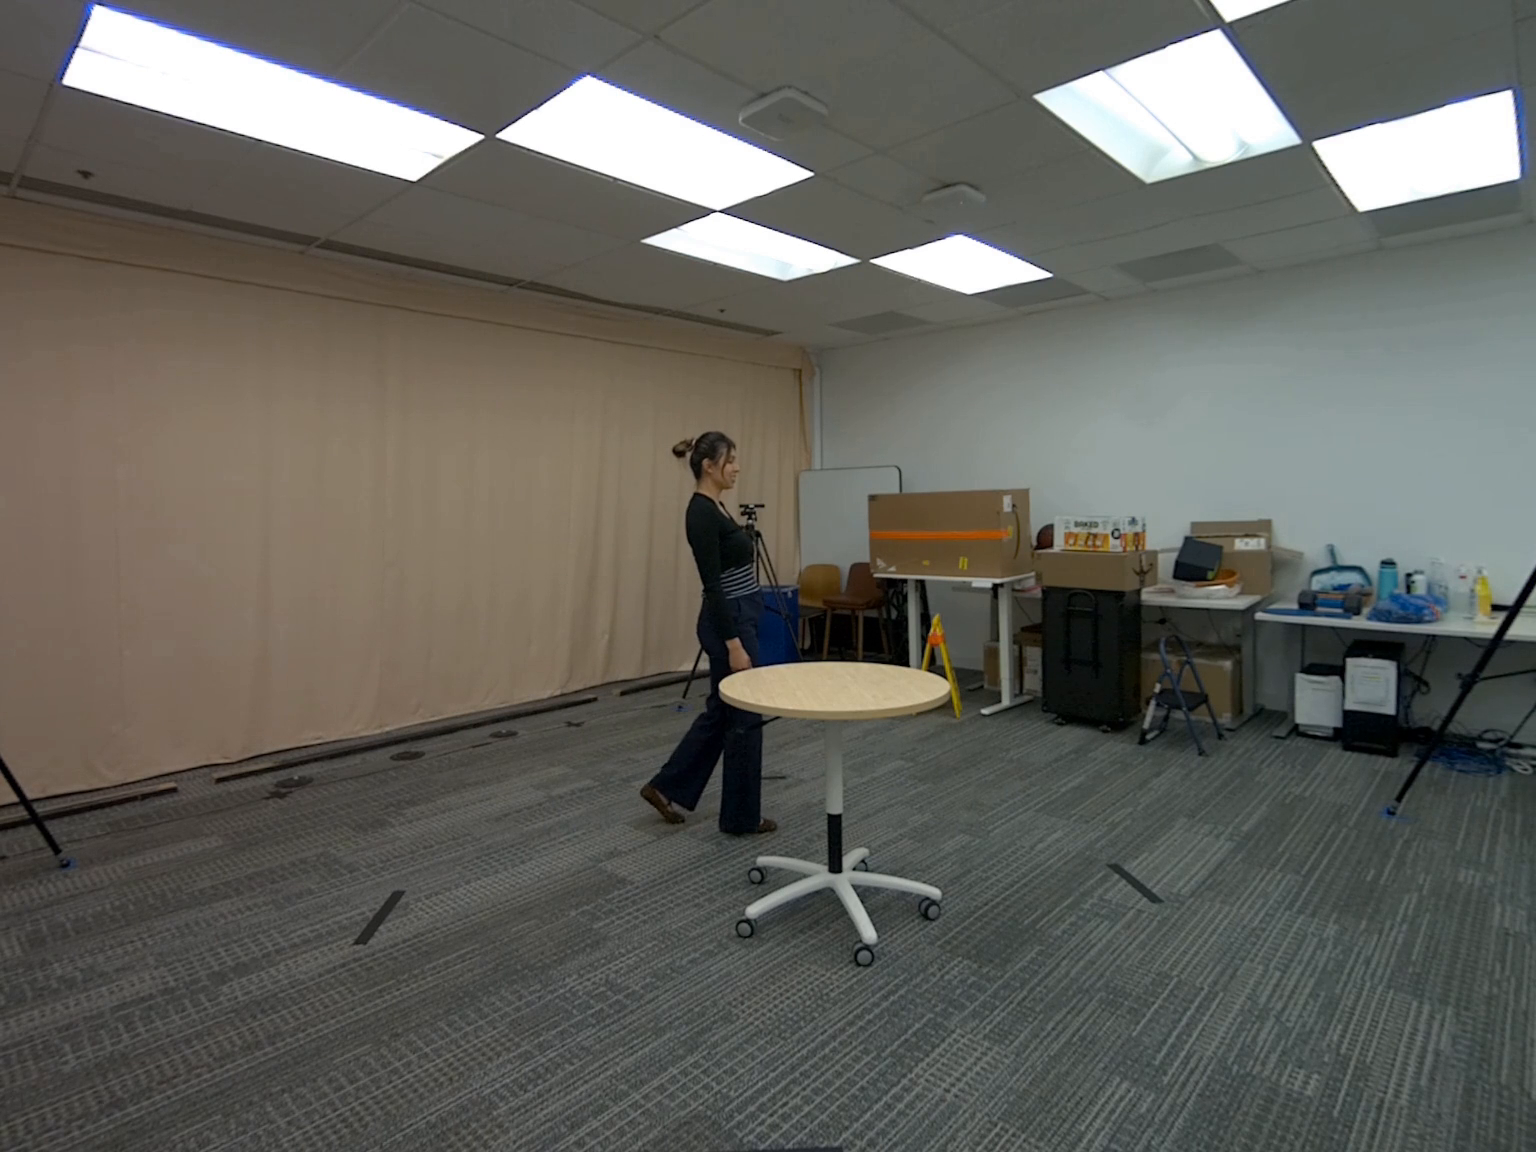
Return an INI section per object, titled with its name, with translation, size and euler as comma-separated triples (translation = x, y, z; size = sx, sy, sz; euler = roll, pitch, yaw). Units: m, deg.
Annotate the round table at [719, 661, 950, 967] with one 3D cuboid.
[round table]
translation = 0.230, 0.757, 2.852
size = 0.763, 0.792, 0.767
euler = -1, 4, -2
